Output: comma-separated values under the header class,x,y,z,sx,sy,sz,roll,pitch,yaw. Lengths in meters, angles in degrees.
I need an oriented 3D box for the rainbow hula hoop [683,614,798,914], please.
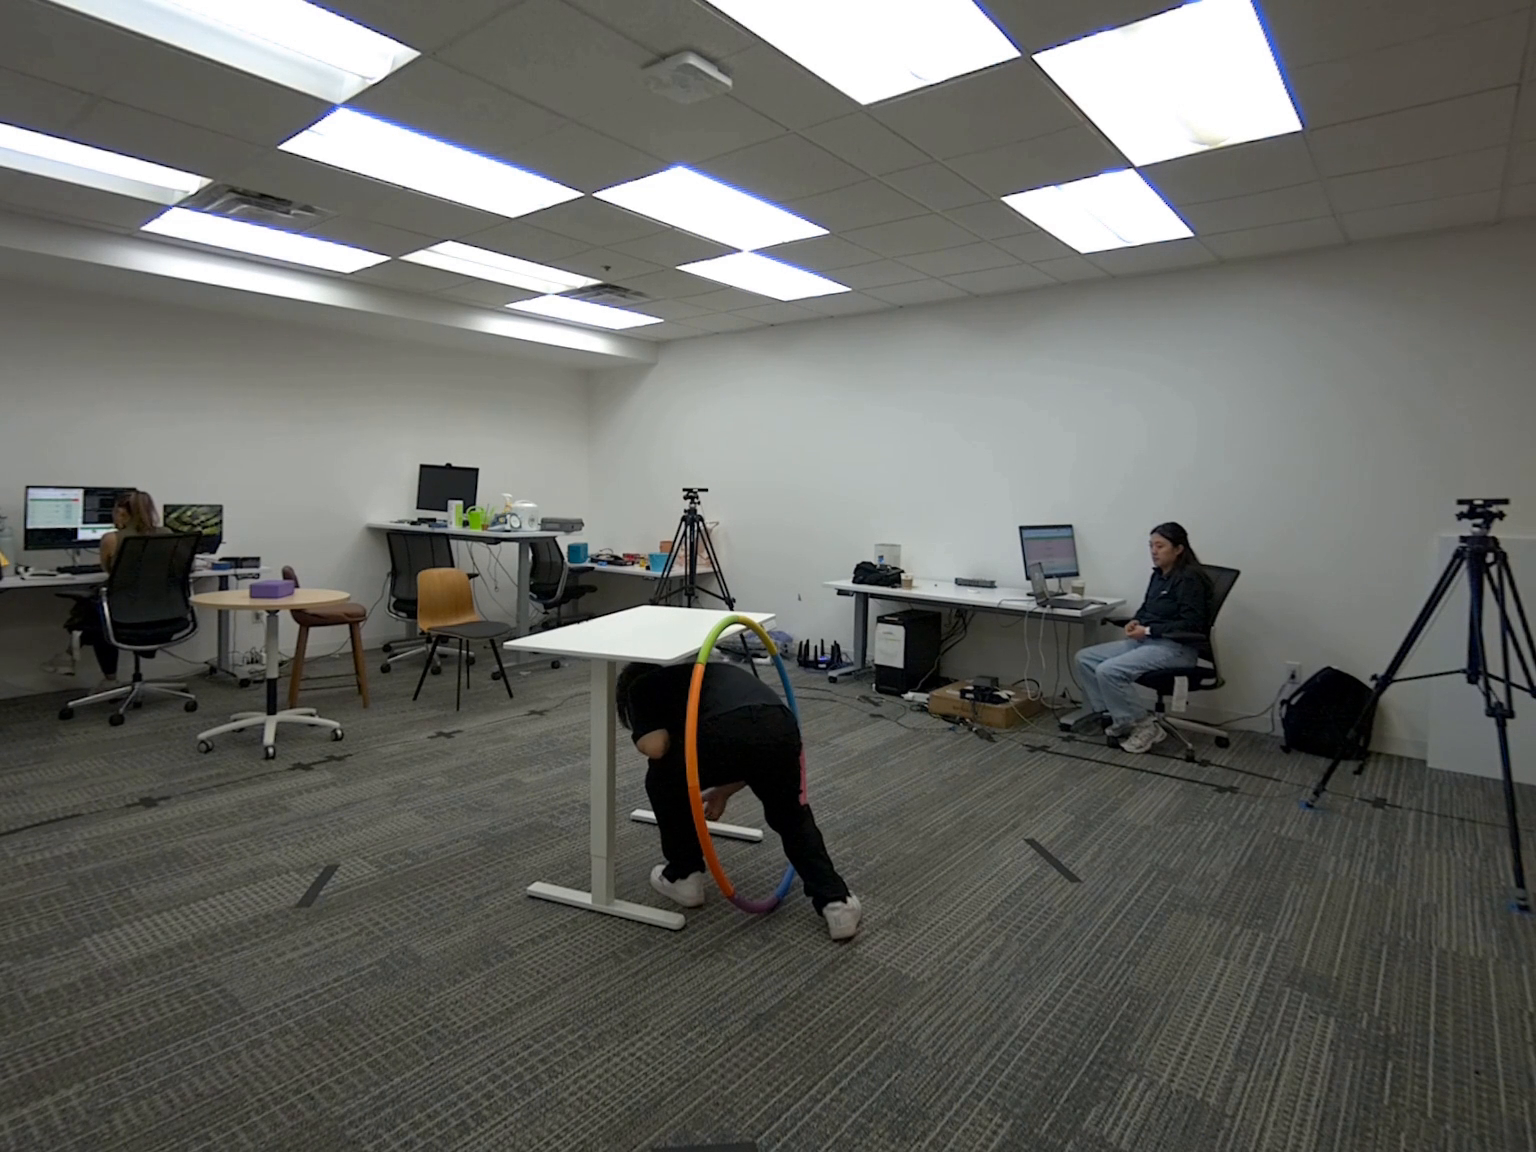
class,x,y,z,sx,sy,sz,roll,pitch,yaw
rainbow hula hoop,-0.056,0.617,2.918,0.036,0.981,0.960,-11,-1,20
